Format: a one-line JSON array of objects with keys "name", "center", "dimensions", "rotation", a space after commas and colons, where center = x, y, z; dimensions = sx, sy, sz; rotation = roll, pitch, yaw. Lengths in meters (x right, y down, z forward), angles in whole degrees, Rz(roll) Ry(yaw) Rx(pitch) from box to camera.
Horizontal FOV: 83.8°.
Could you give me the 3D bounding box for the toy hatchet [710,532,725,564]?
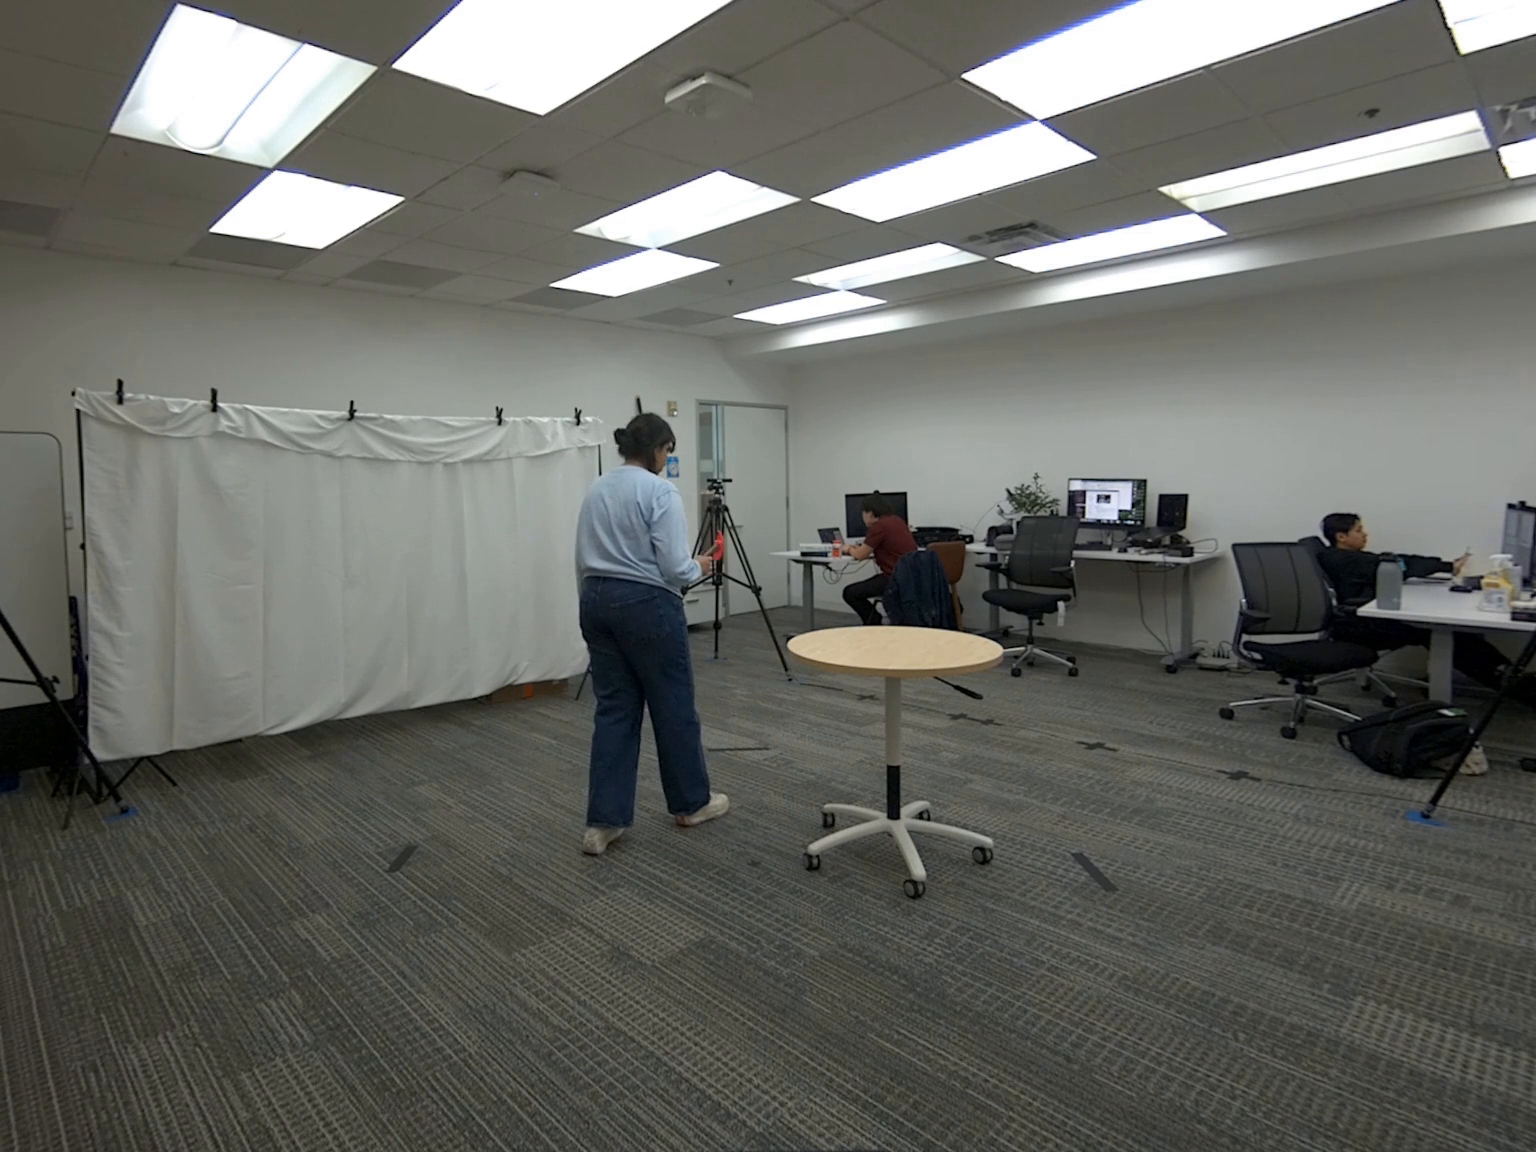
[{"name": "toy hatchet", "center": [-0.241, -0.063, 3.581], "dimensions": [0.030, 0.127, 0.272], "rotation": [14, 47, 19]}]
